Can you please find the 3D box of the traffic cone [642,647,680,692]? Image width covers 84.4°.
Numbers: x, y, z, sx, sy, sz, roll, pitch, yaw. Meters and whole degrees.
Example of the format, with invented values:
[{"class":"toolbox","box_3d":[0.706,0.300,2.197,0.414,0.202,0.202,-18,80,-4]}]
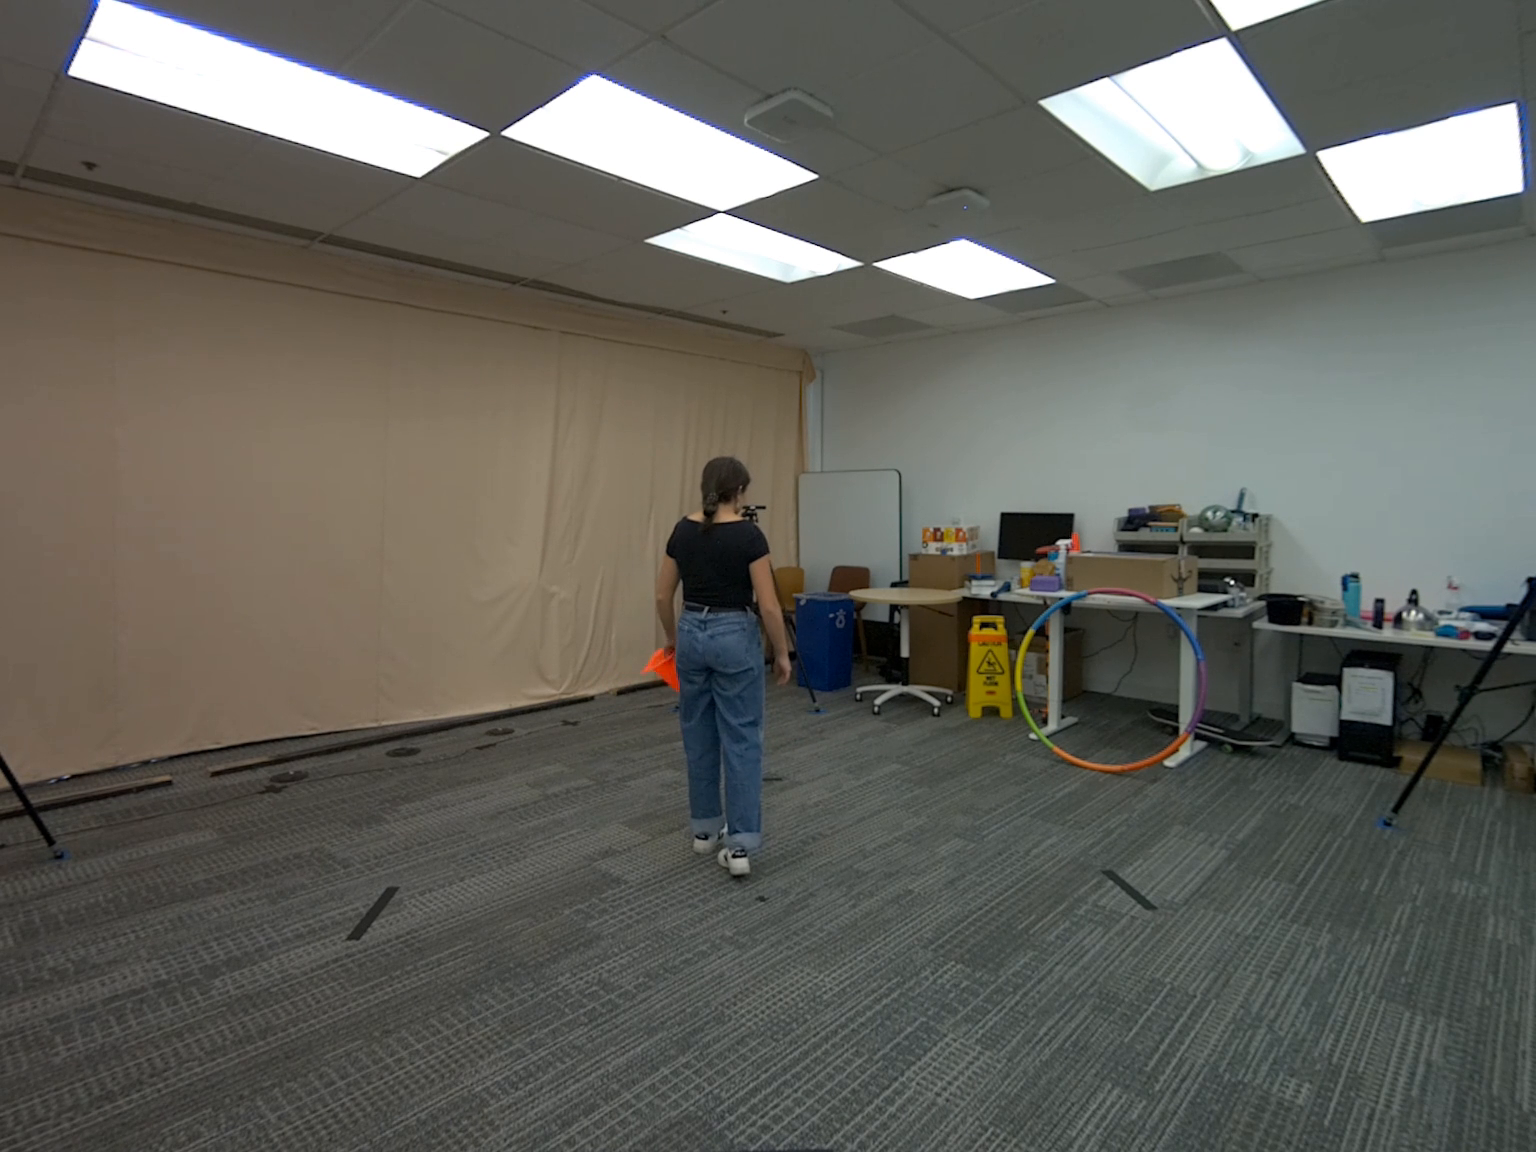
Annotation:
[{"class":"traffic cone","box_3d":[-0.338,0.492,3.702,0.206,0.381,0.204,-39,7,13]}]
